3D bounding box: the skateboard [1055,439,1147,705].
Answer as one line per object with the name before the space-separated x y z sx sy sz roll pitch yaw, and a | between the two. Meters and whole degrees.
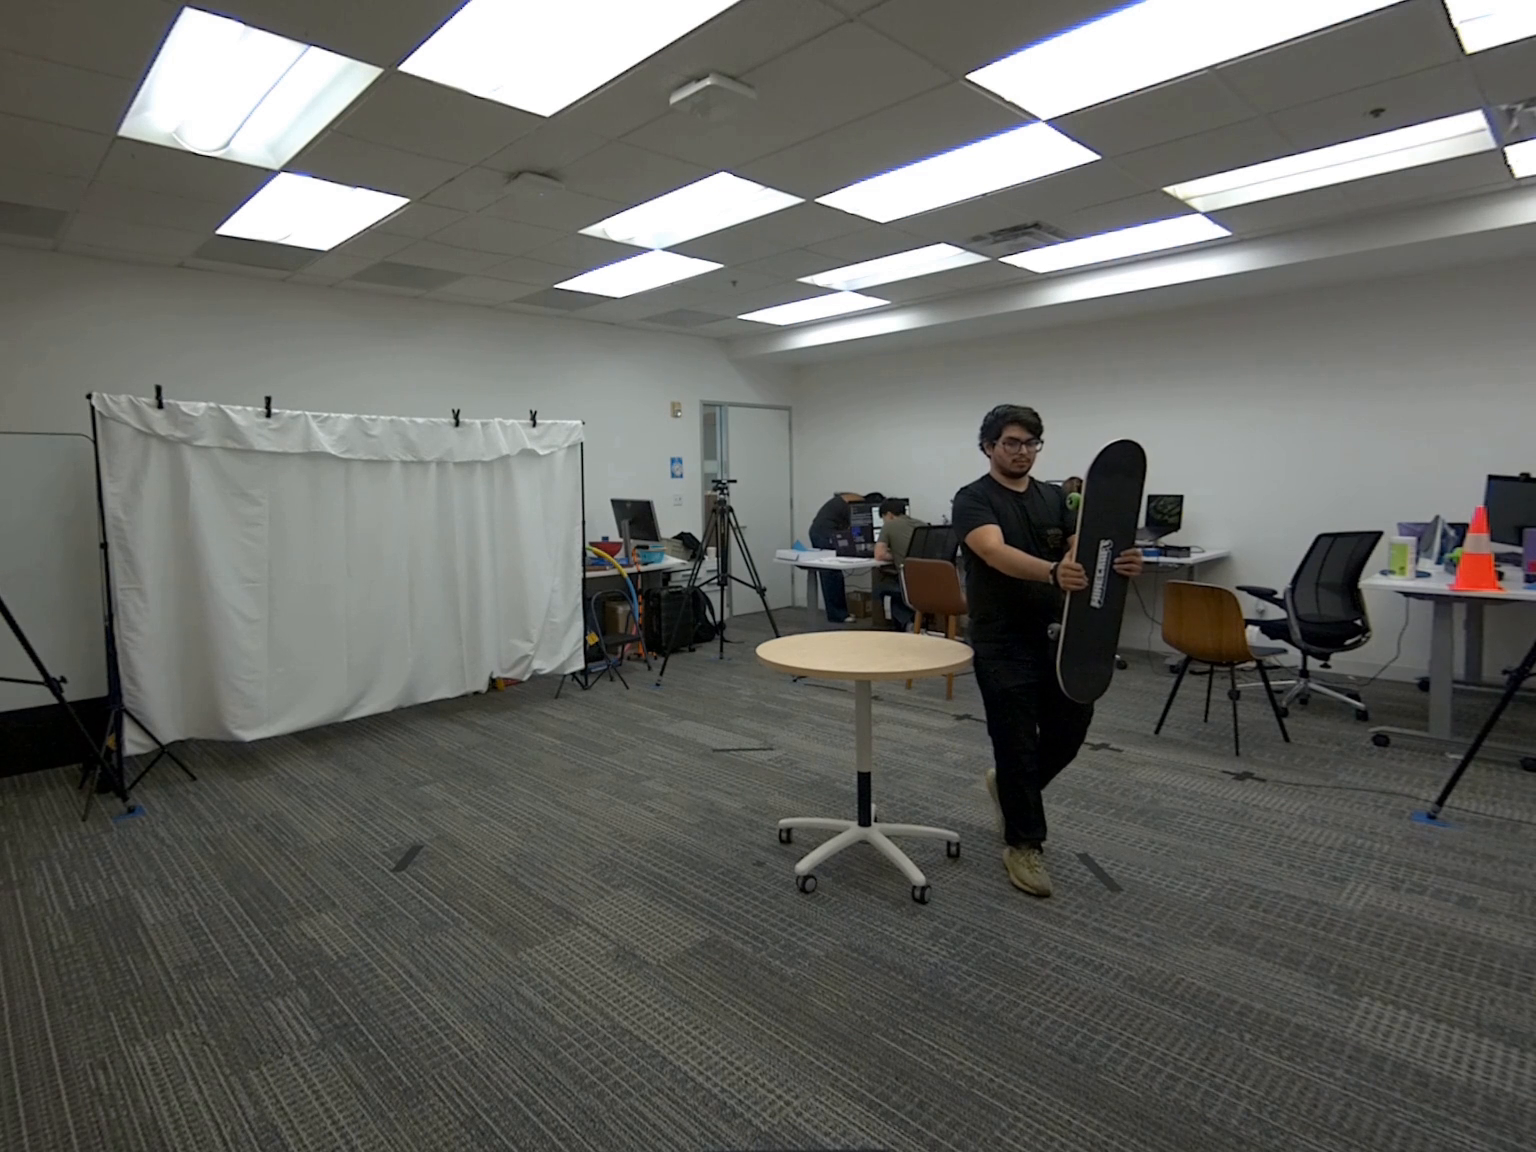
skateboard | 0.961 -0.012 2.526 0.191 0.777 0.113 0 13 -12
